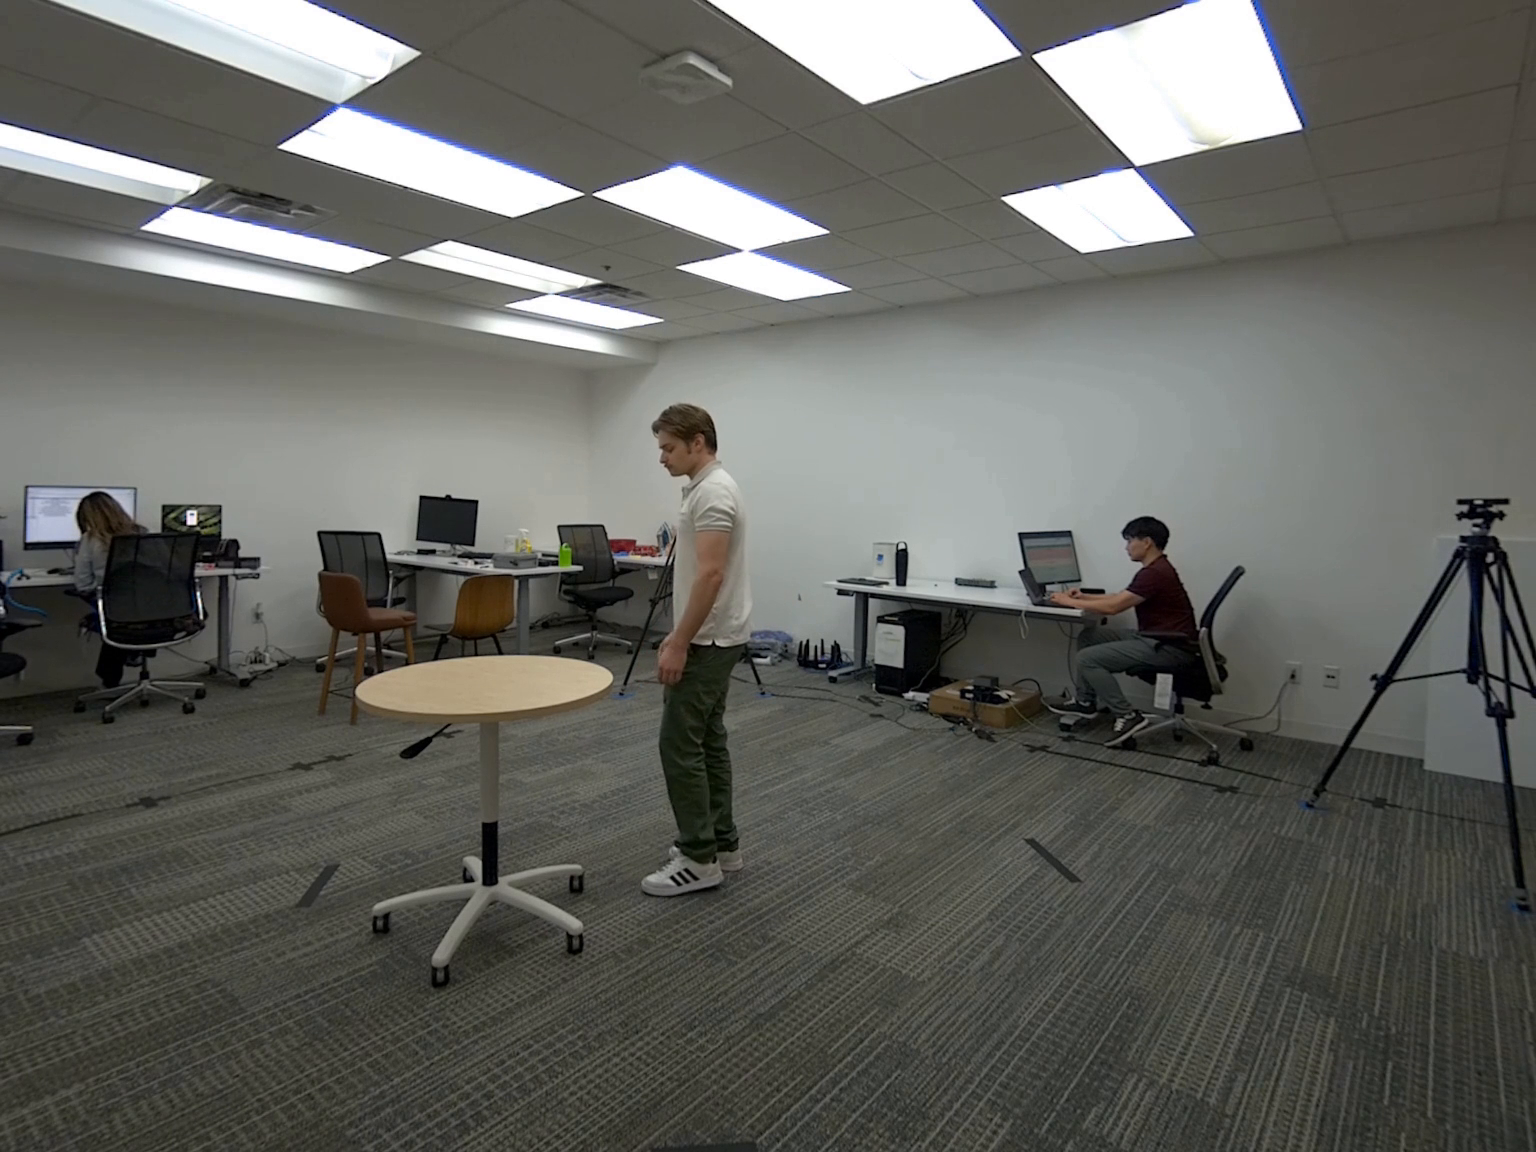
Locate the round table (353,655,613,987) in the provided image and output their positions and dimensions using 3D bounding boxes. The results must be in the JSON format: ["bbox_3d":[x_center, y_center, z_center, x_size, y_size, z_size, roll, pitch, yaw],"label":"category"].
[{"bbox_3d":[-0.876,0.717,2.656,0.763,0.791,0.768,0,5,-2],"label":"round table"}]
